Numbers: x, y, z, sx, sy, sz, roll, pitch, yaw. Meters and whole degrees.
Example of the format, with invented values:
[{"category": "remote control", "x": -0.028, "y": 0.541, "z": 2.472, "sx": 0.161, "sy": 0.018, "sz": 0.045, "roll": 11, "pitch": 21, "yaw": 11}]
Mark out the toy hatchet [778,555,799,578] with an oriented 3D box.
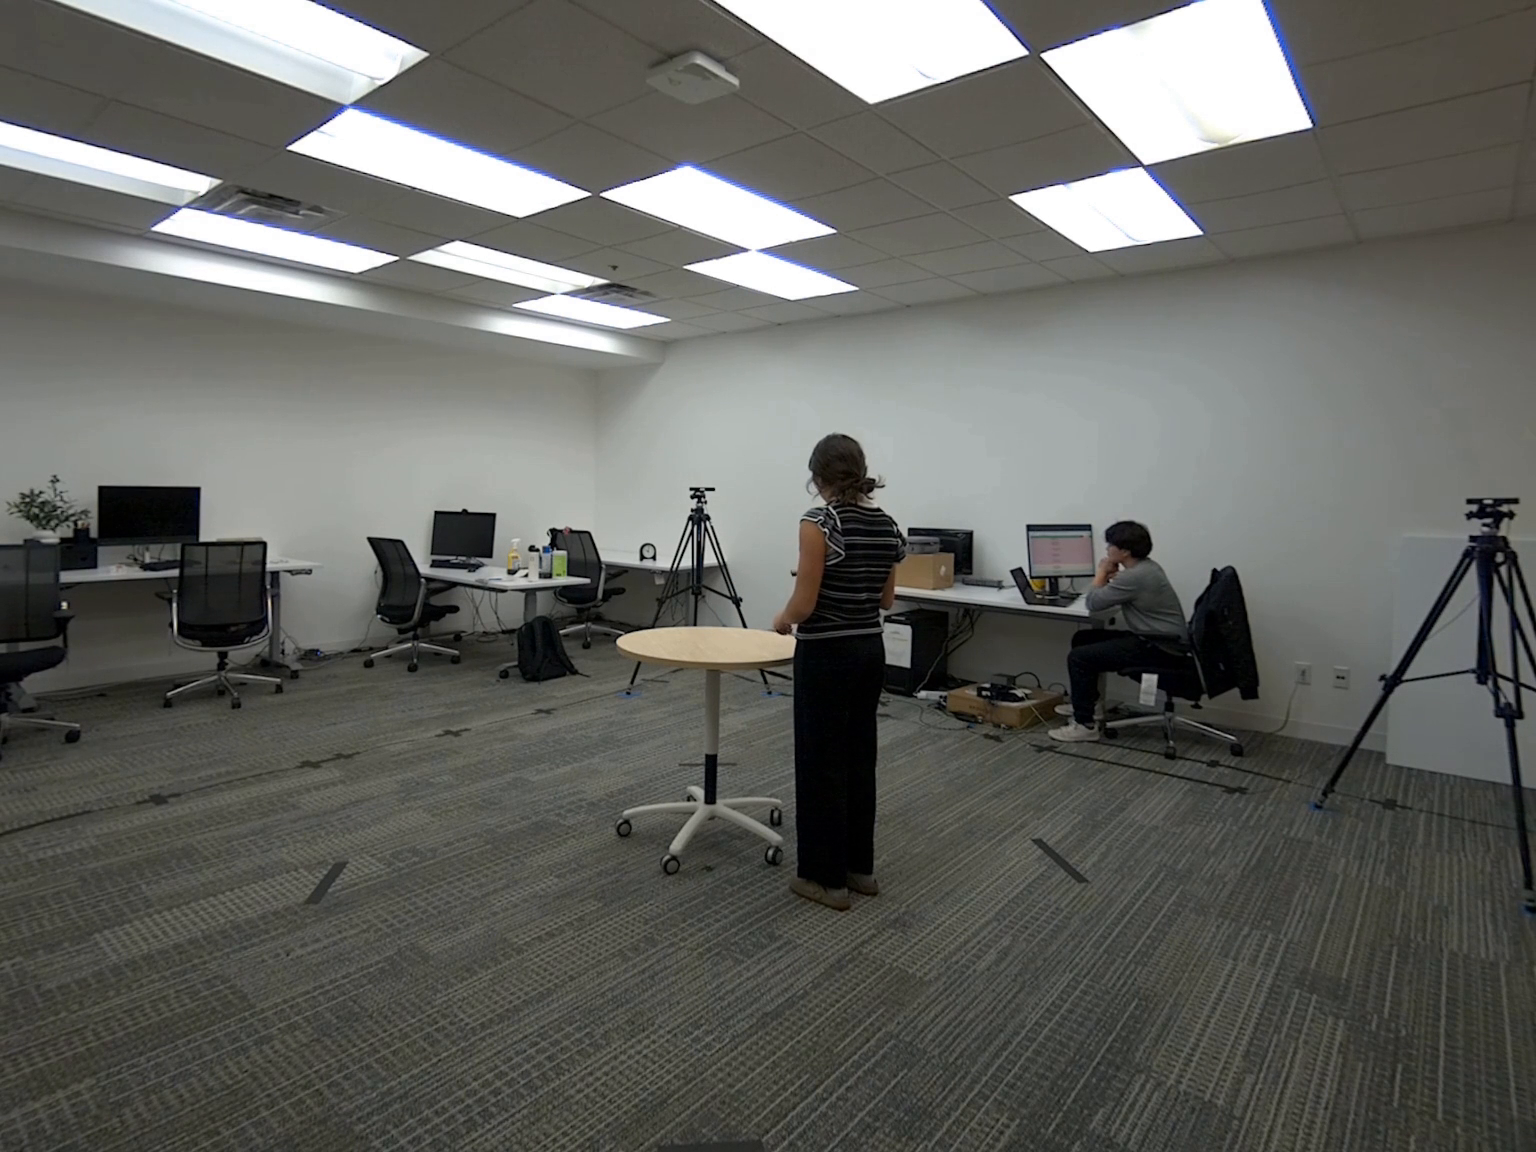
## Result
[{"category": "toy hatchet", "x": 0.186, "y": -0.054, "z": 3.255, "sx": 0.267, "sy": 0.029, "sz": 0.135, "roll": -9, "pitch": 24, "yaw": -11}]
